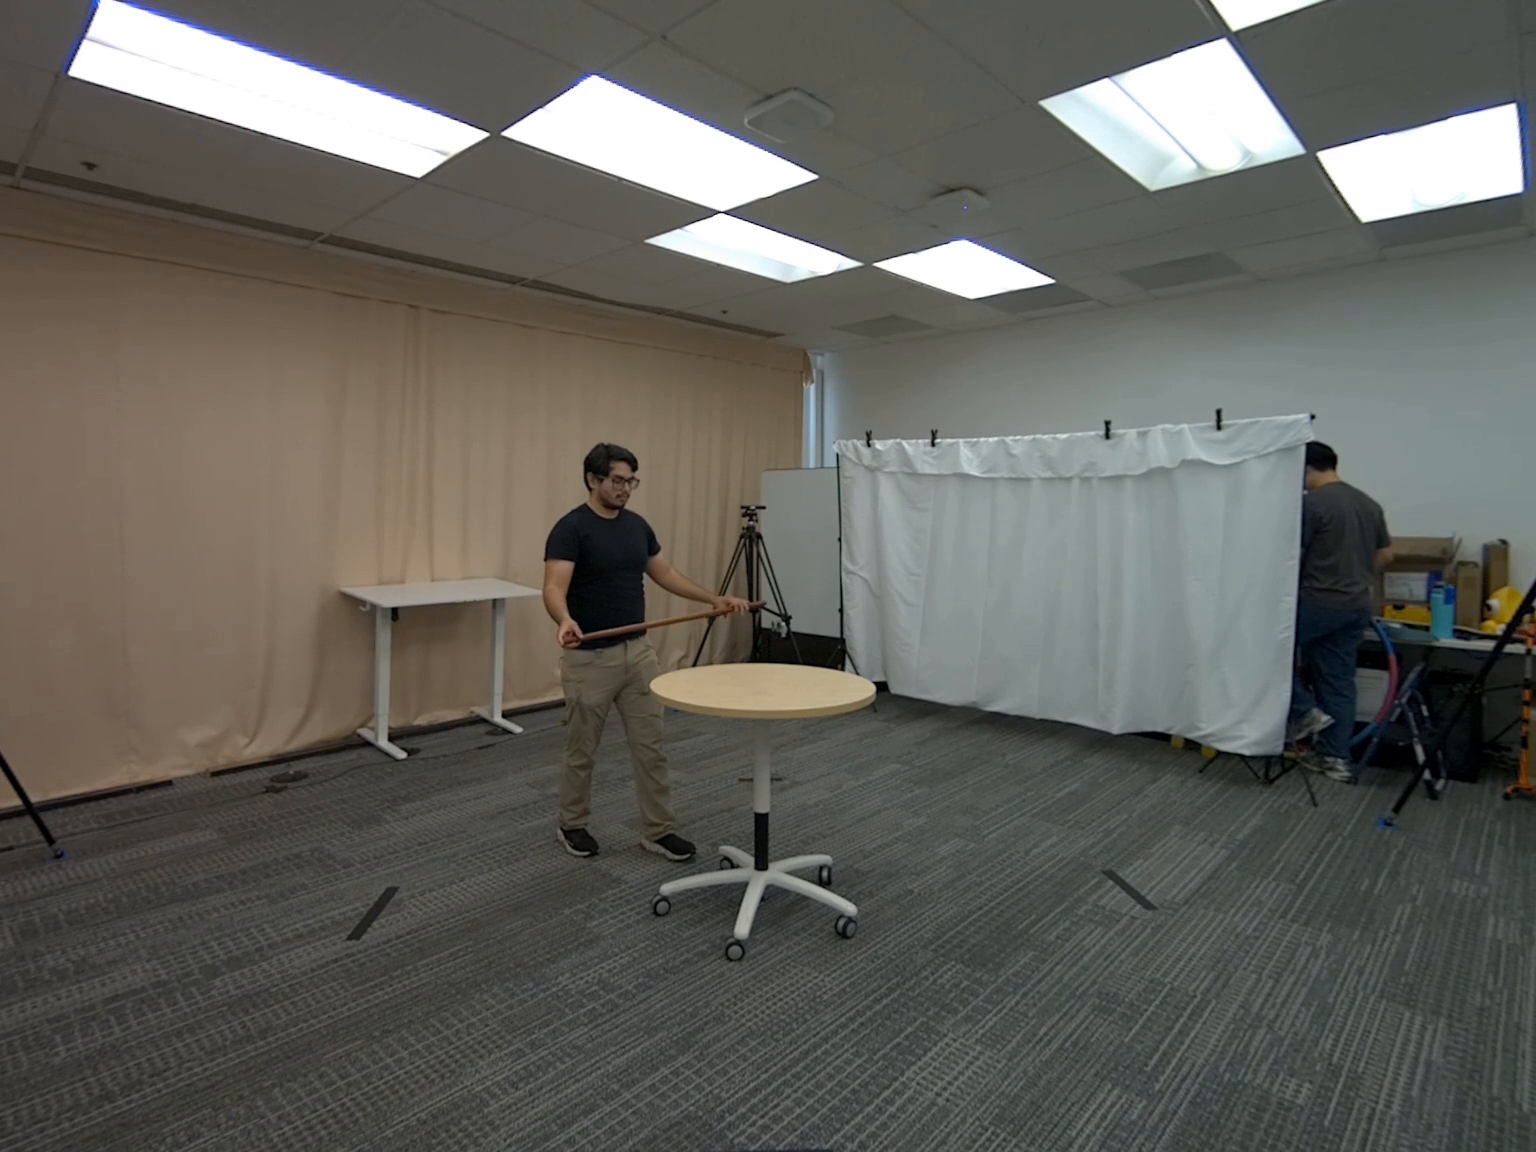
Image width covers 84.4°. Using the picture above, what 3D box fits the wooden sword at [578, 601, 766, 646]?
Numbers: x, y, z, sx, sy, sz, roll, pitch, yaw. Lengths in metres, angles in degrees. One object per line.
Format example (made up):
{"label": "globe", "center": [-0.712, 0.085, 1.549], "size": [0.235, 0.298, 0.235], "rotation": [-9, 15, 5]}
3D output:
{"label": "wooden sword", "center": [-0.308, 0.179, 3.152], "size": [0.025, 0.051, 0.996], "rotation": [-12, 0, 43]}
